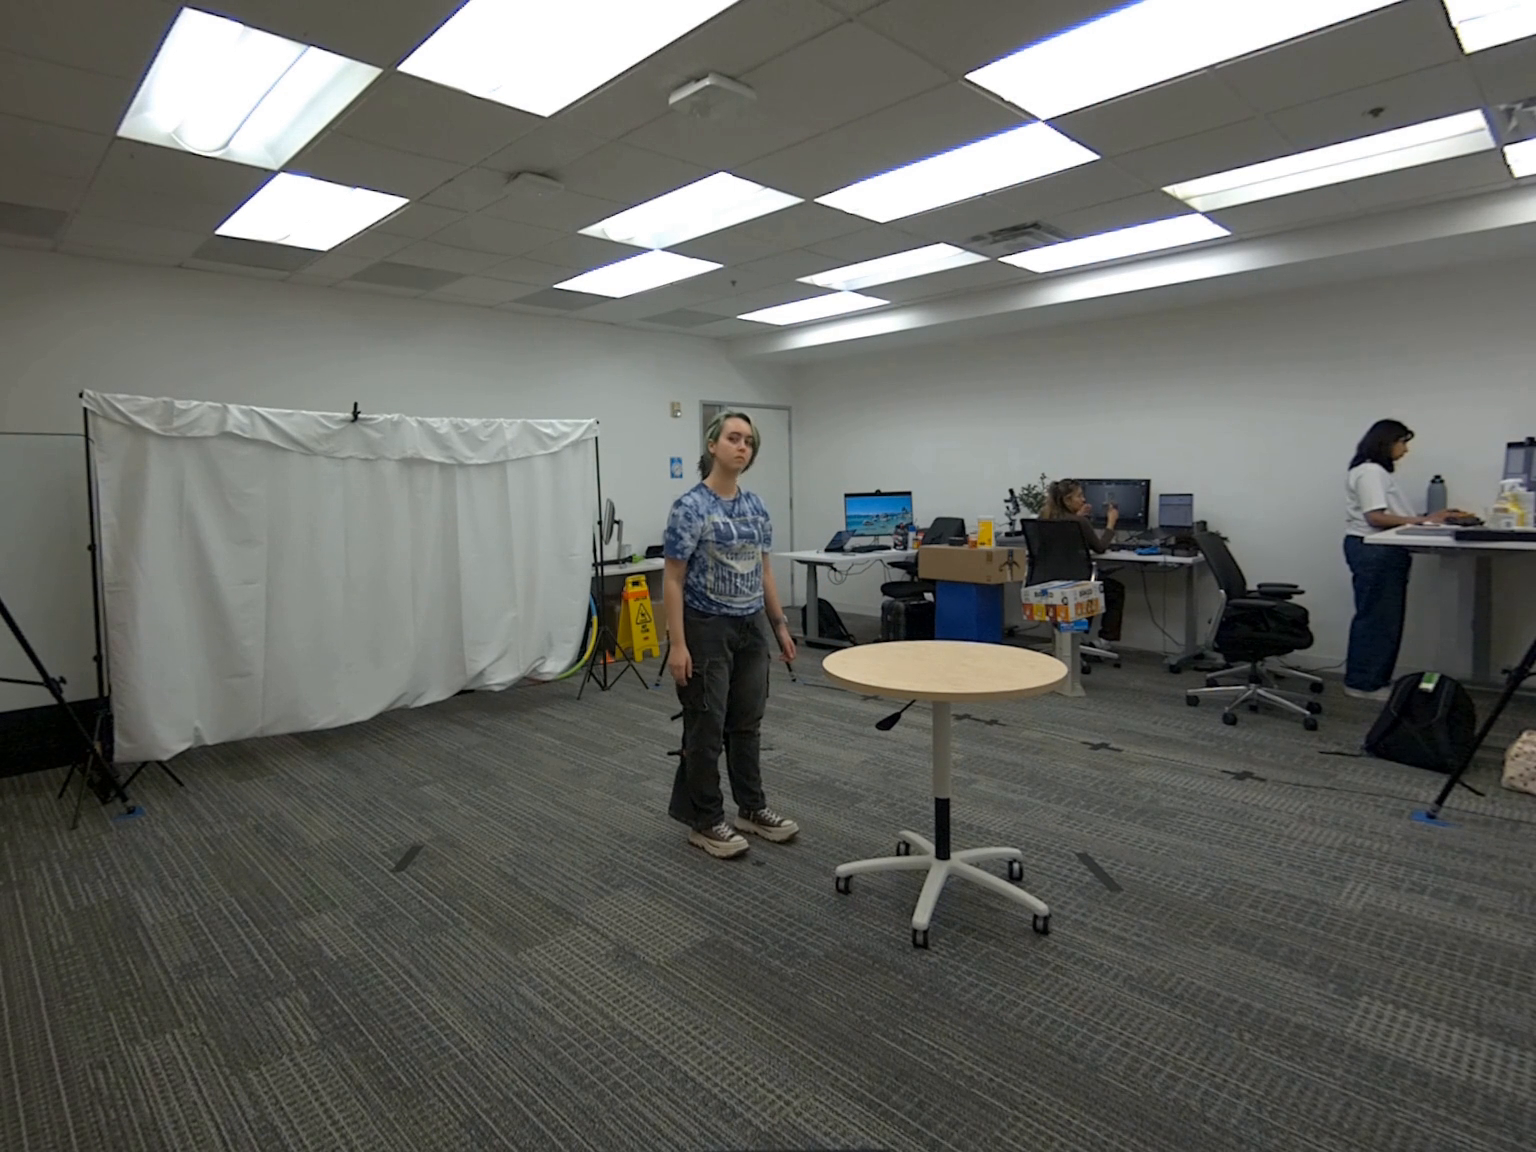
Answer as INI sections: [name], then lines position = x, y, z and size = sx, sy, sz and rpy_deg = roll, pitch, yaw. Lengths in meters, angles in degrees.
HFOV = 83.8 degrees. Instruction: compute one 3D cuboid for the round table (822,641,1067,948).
[round table]
position = 0.577, 0.683, 2.790
size = 0.763, 0.791, 0.768
rpy_deg = -1, 5, -2
